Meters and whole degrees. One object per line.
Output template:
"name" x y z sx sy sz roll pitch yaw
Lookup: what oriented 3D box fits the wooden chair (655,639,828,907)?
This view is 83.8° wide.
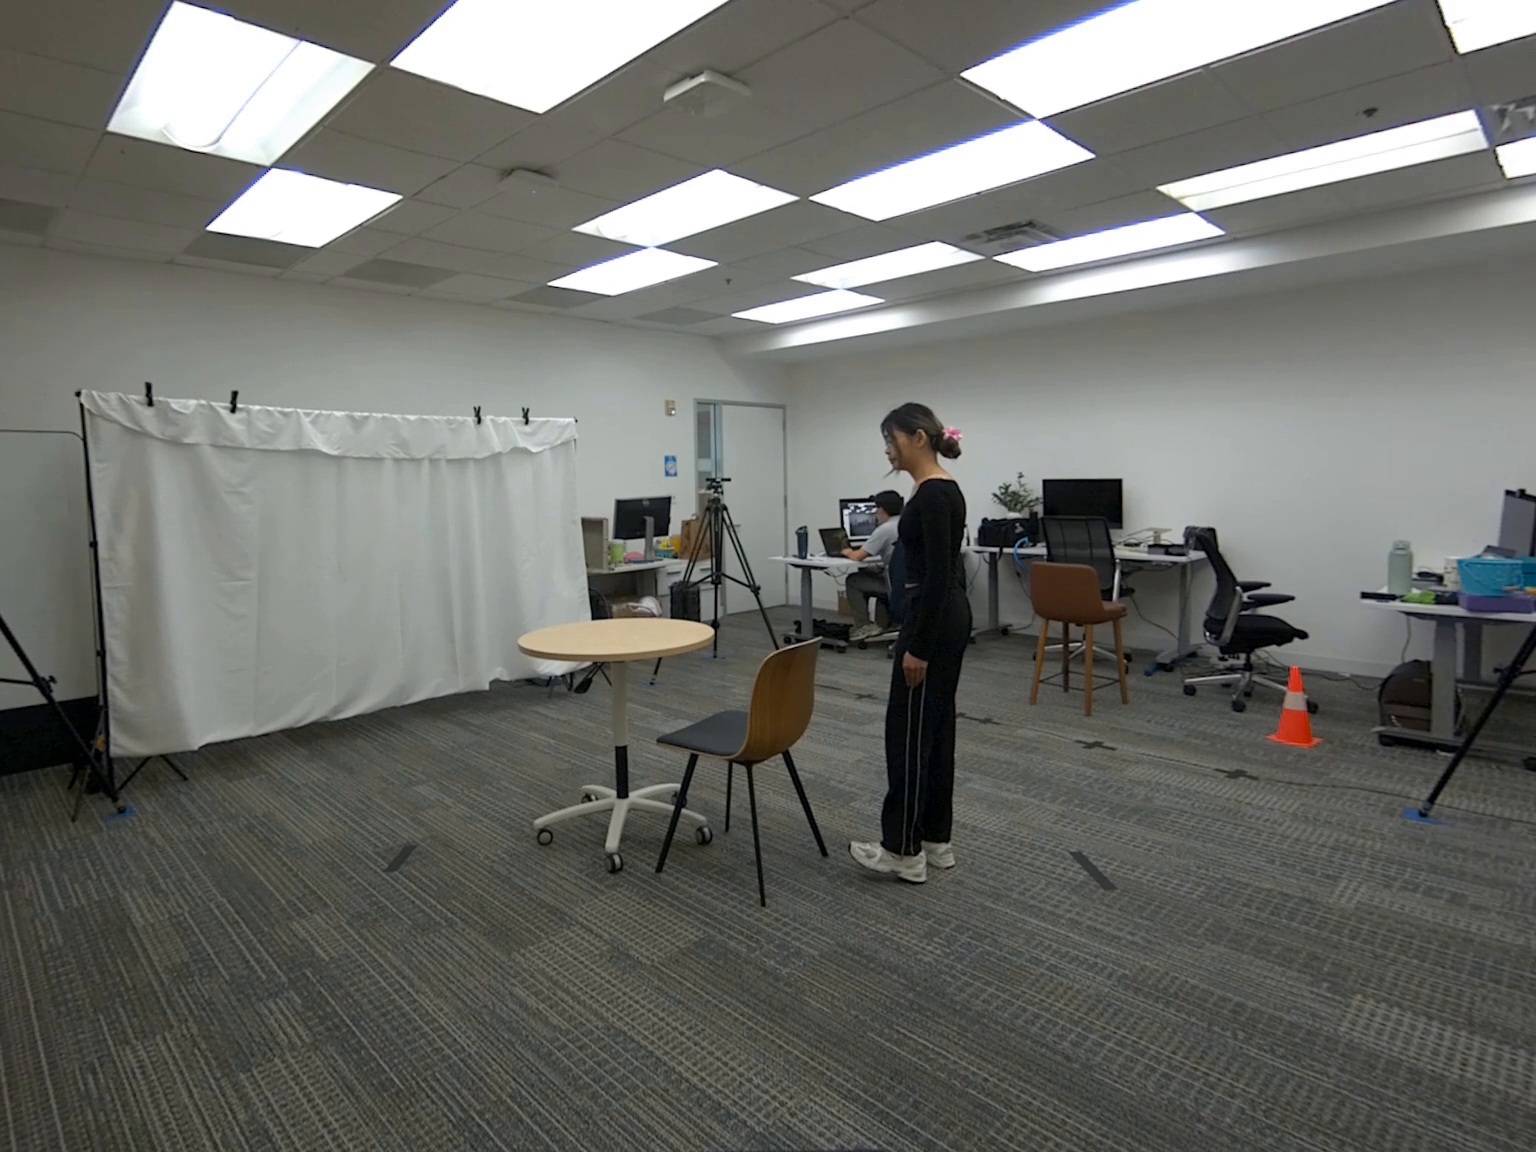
"wooden chair" -0.101 0.618 3.059 0.539 0.872 0.467 7 8 33
